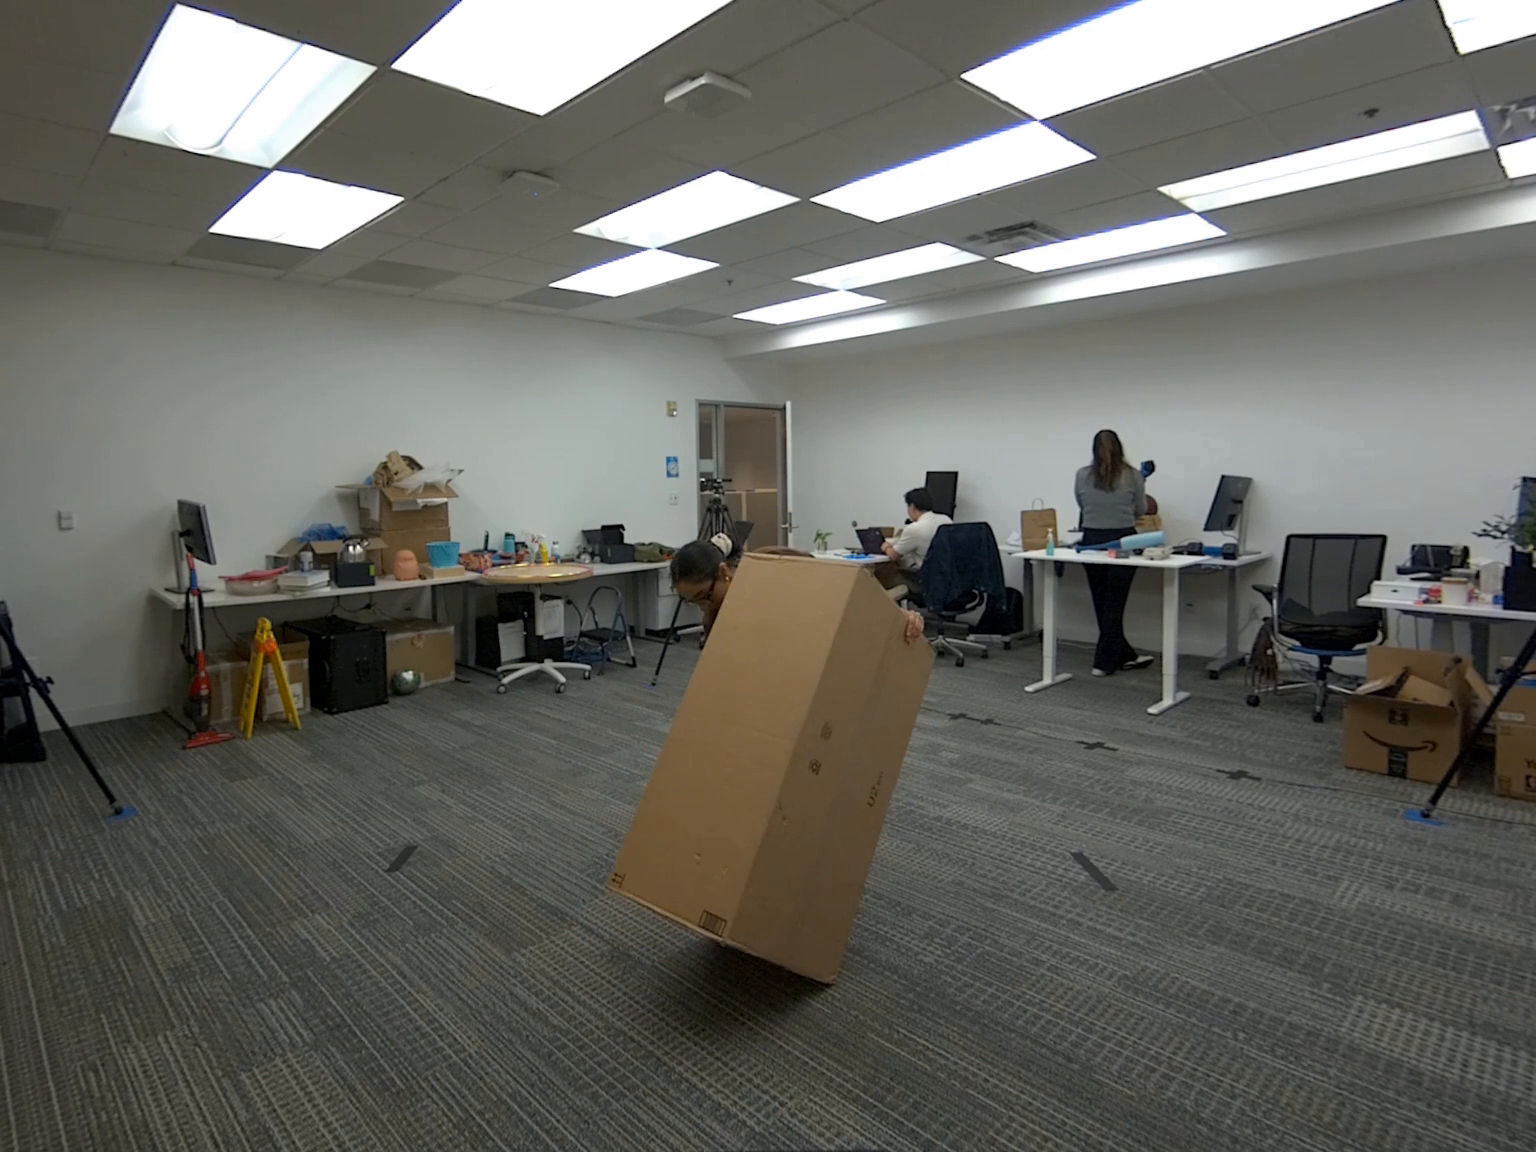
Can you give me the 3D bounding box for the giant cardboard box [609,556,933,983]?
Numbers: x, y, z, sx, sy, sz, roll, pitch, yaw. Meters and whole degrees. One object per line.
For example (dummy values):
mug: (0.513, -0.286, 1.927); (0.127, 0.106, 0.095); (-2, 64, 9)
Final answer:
giant cardboard box: (0.050, 0.533, 2.484); (0.439, 1.035, 0.555); (3, -27, 40)
